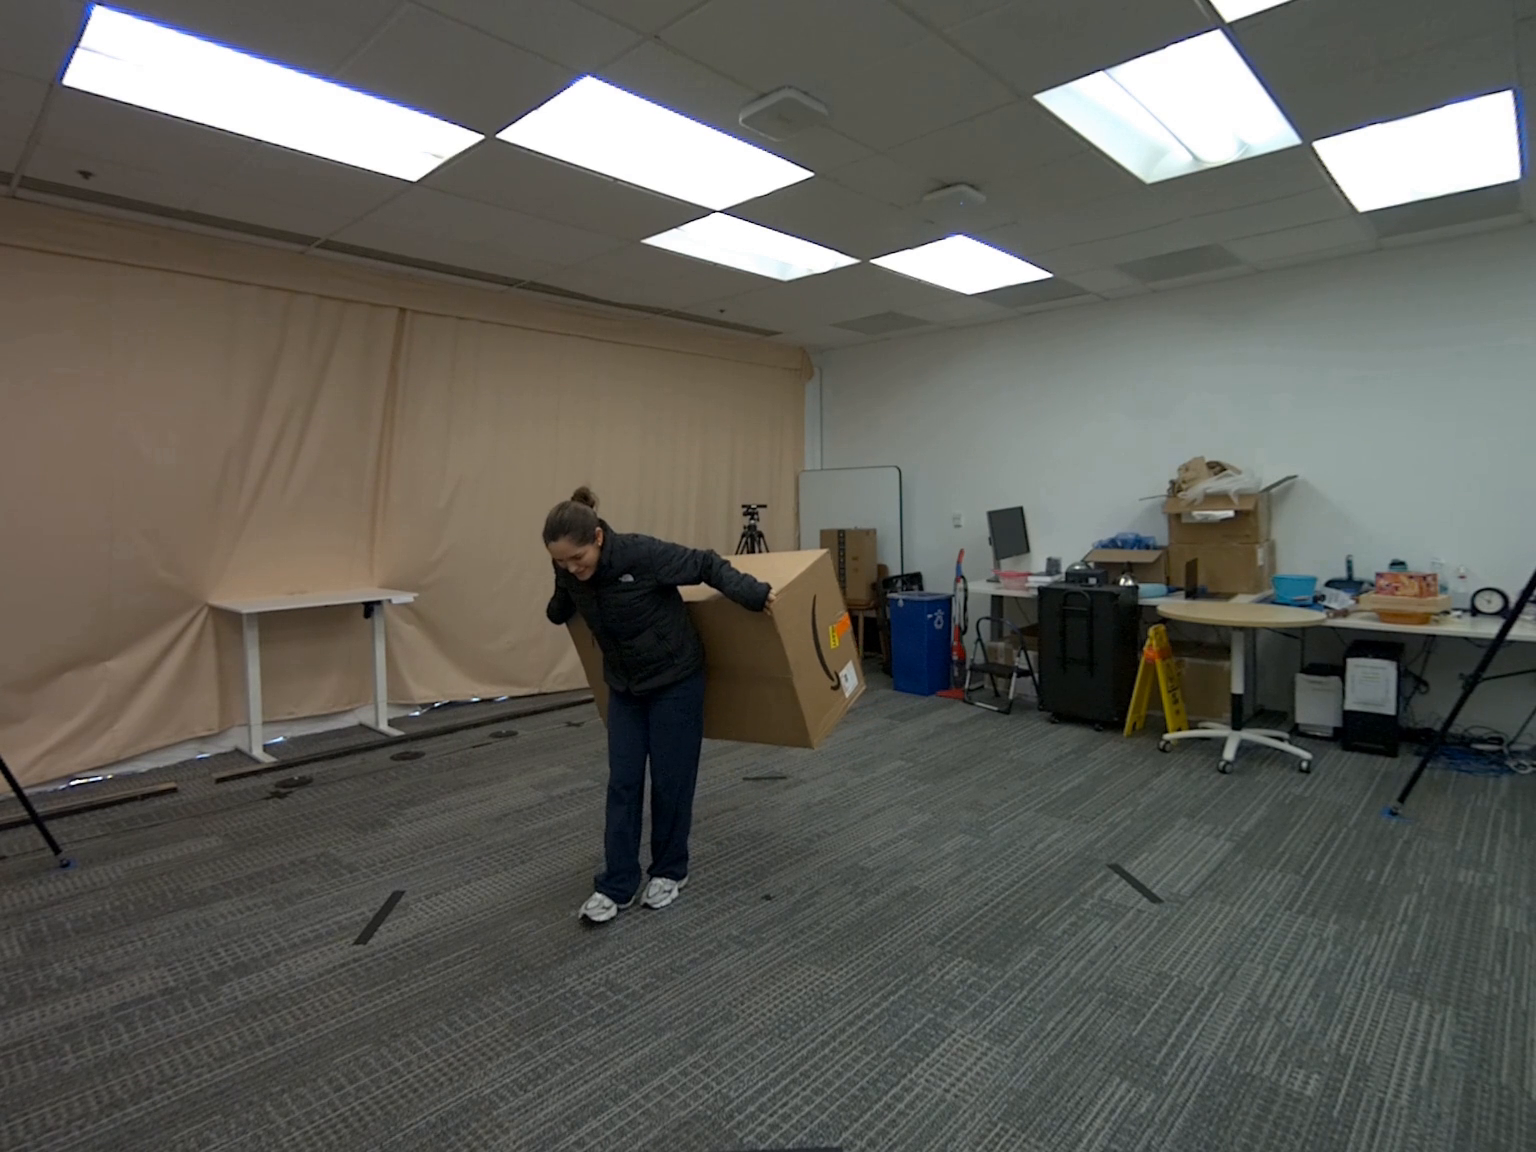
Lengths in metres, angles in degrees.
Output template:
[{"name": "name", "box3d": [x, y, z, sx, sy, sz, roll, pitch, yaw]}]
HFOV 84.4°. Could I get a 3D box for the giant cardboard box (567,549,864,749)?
[{"name": "giant cardboard box", "box3d": [-0.215, 0.272, 3.258, 1.057, 0.569, 0.420, -3, 21, 37]}]
